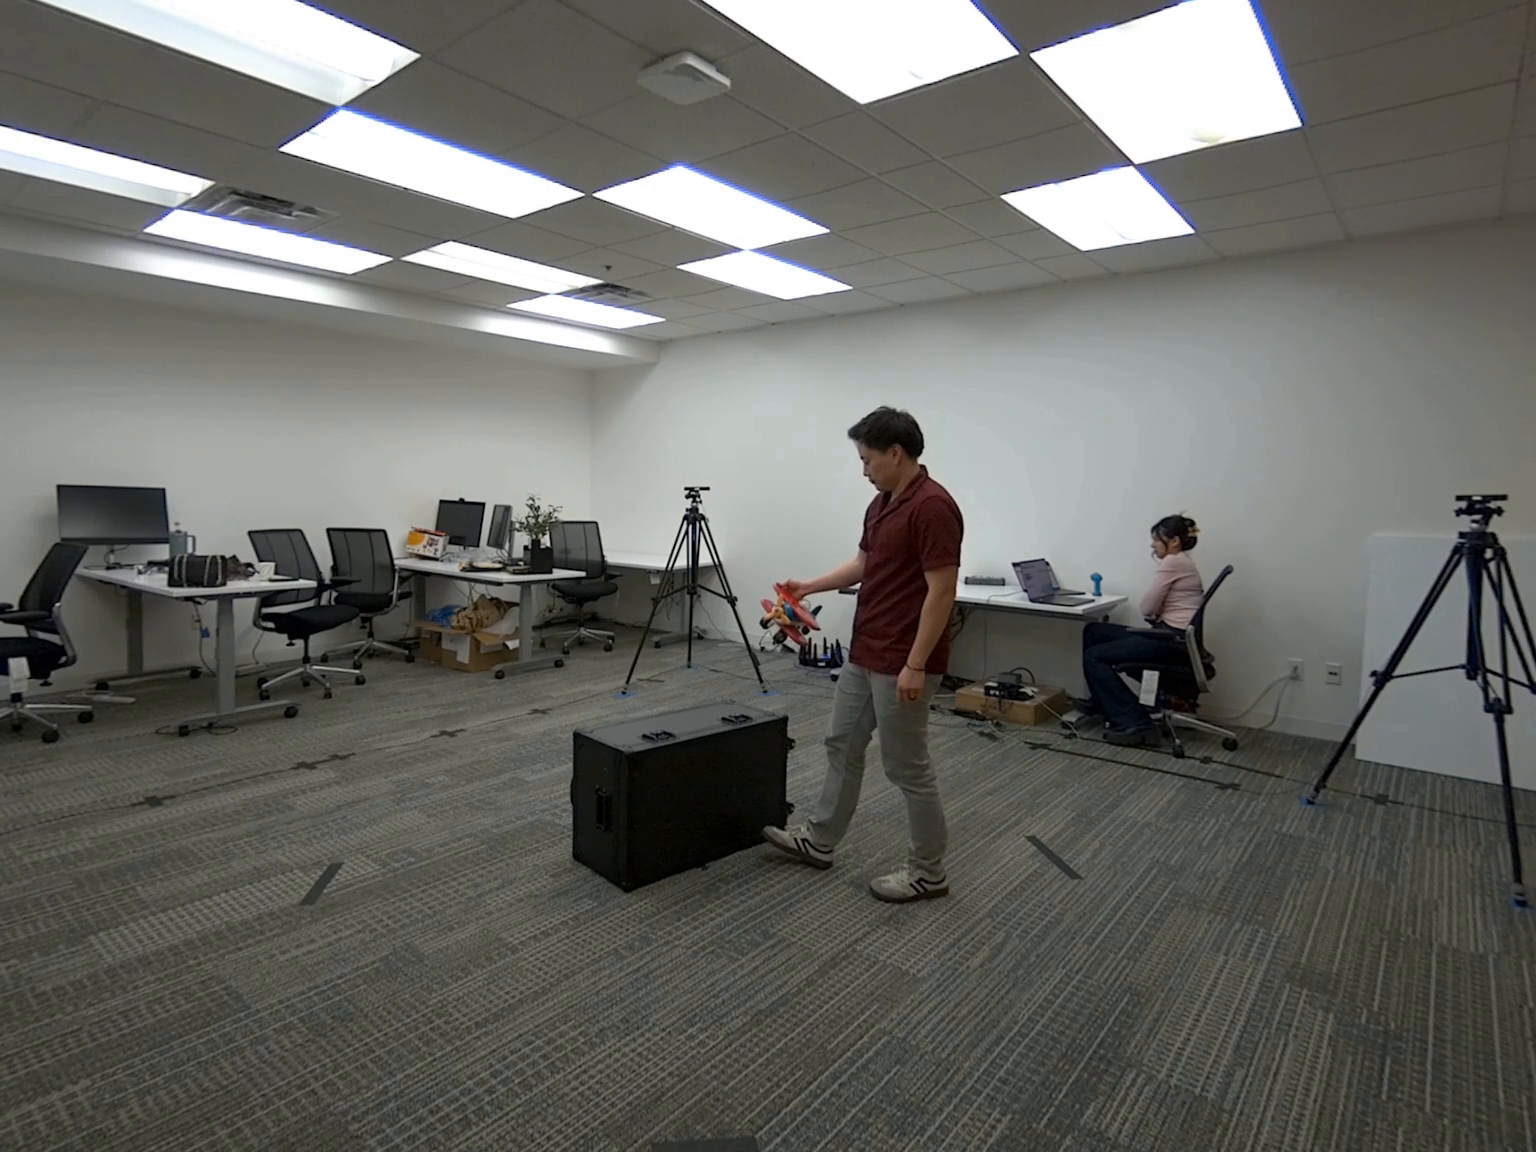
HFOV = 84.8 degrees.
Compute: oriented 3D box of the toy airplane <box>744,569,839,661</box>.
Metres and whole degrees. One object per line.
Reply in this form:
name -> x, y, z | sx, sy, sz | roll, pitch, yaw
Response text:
toy airplane -> 0.090, 0.143, 3.249 | 0.255, 0.155, 0.258 | 32, 28, 10
